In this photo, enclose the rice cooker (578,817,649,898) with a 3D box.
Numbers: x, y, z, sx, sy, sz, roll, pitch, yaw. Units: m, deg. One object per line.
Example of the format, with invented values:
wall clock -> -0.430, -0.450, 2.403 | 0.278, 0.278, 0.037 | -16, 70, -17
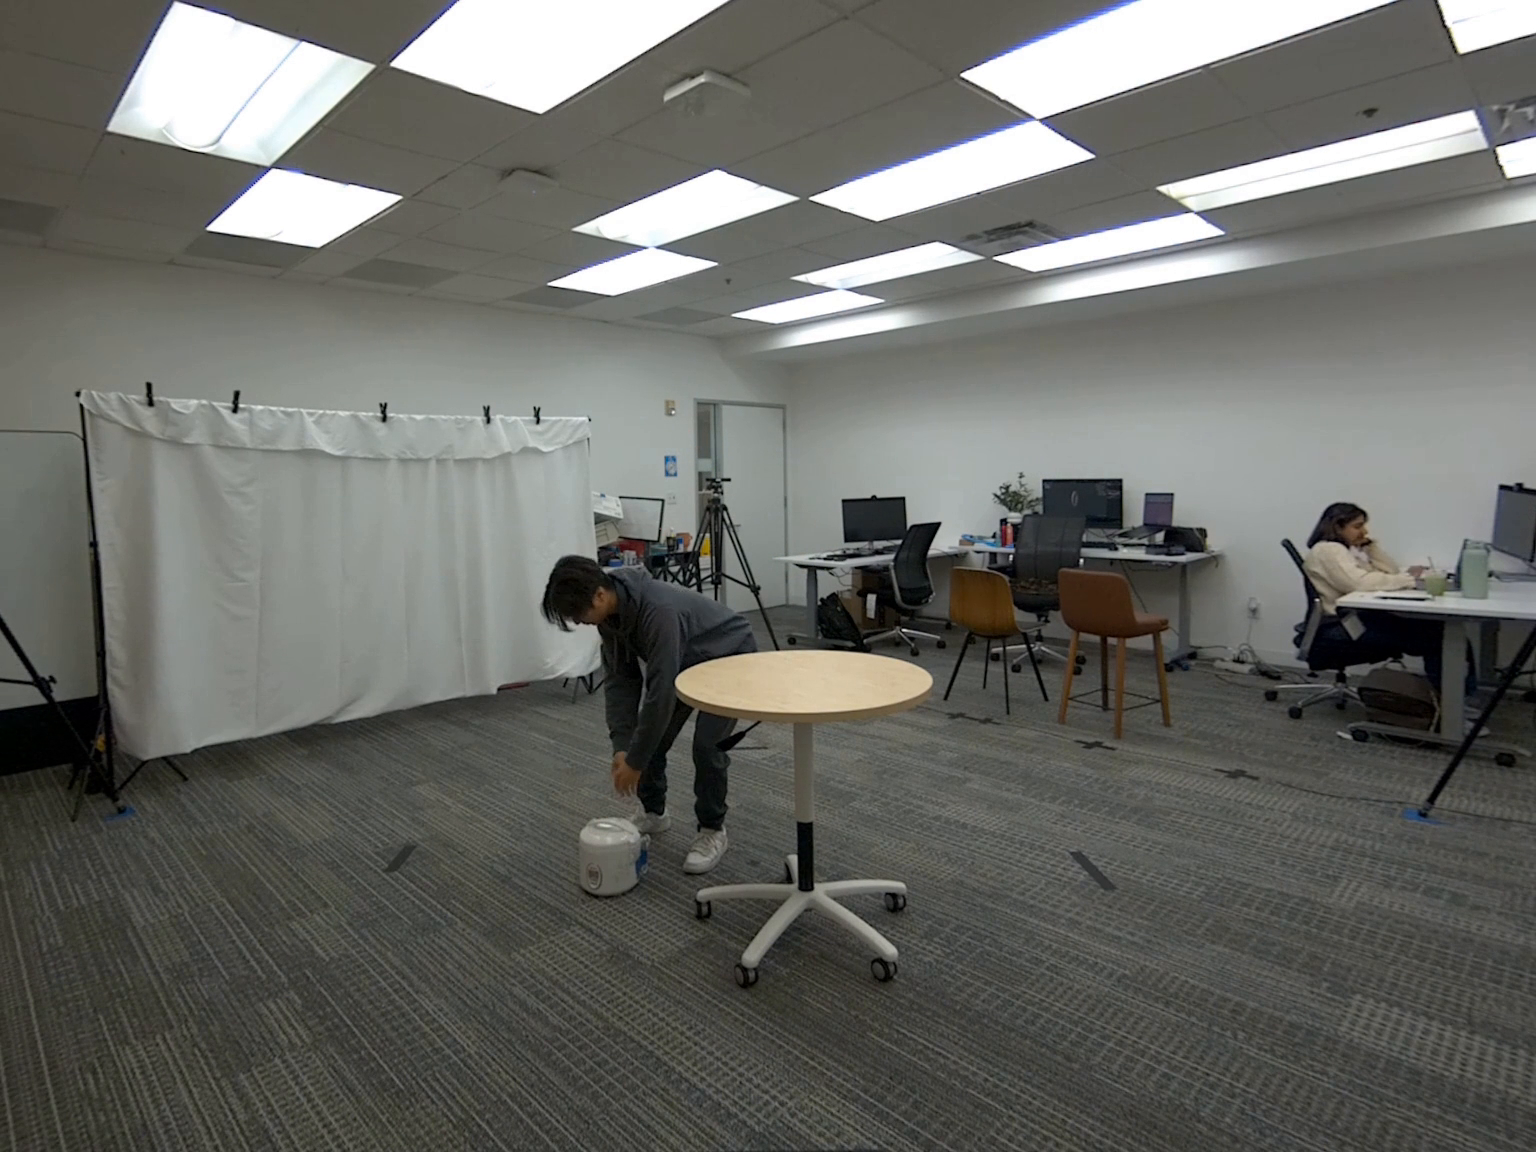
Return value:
rice cooker -> -0.546, 0.959, 2.944 | 0.225, 0.232, 0.214 | 1, 5, 22
